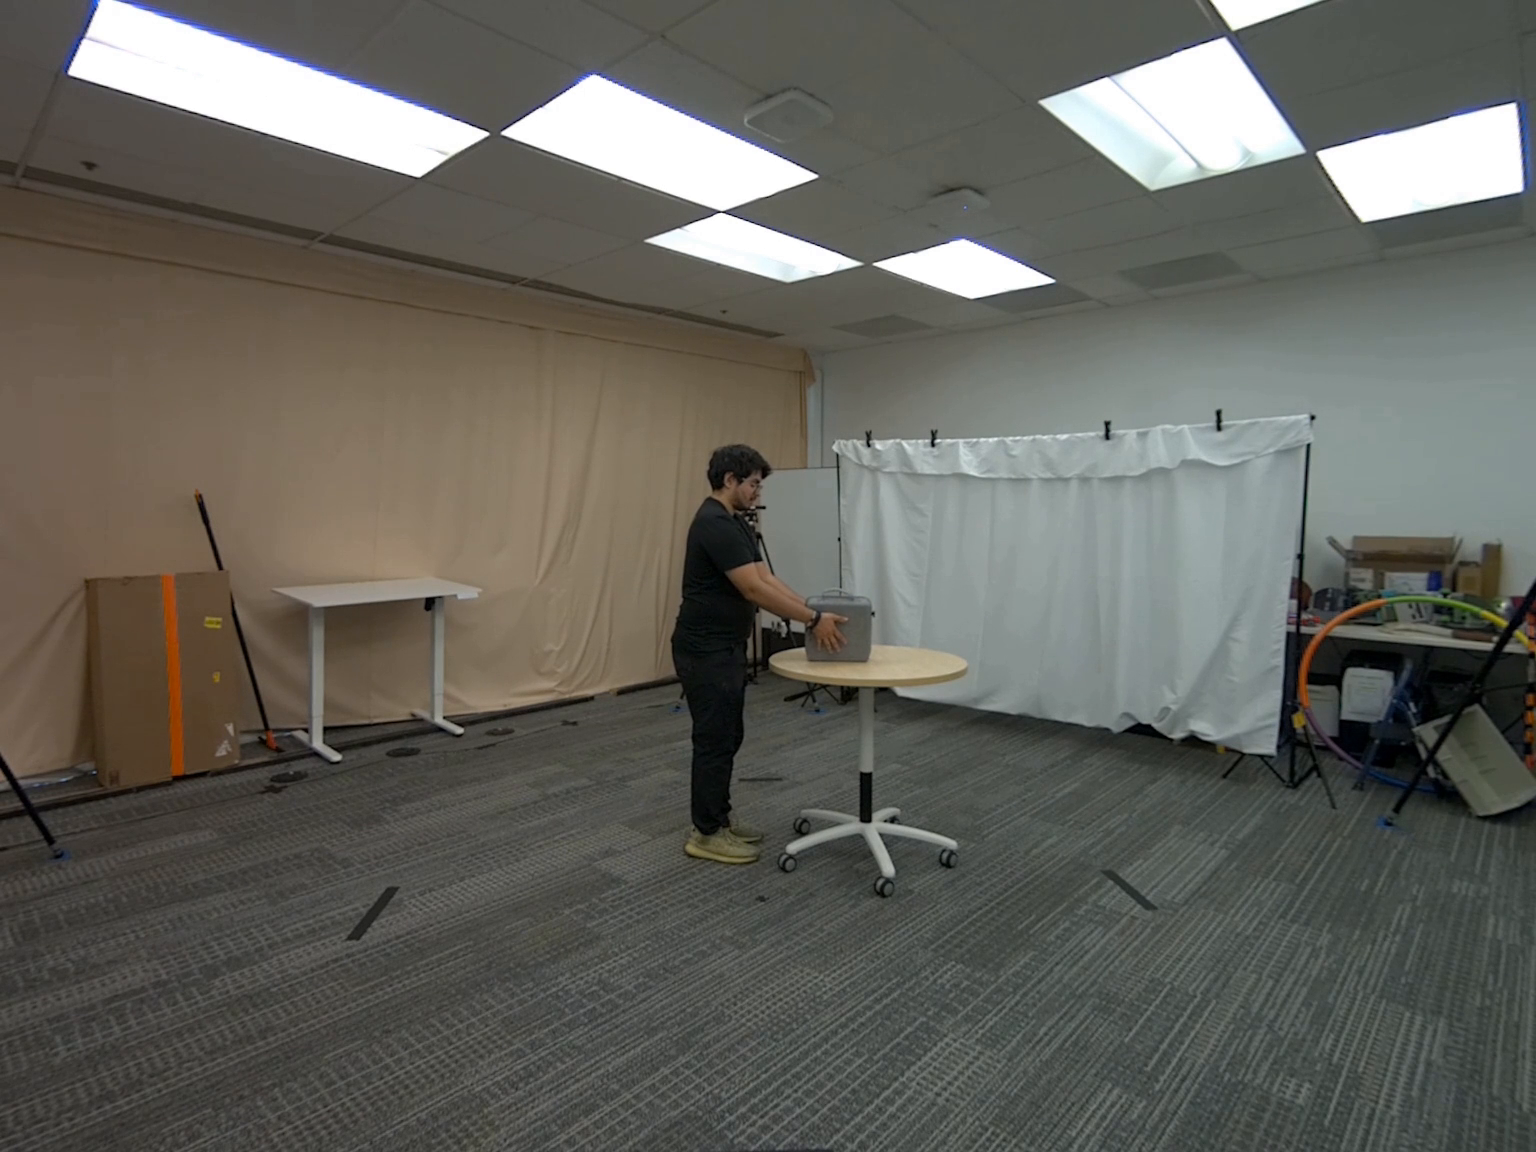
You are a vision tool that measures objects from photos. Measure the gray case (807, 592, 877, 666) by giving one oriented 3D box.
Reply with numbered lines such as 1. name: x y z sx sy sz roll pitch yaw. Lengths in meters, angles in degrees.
1. gray case: 0.286 0.201 3.280 0.259 0.258 0.104 0 12 8
